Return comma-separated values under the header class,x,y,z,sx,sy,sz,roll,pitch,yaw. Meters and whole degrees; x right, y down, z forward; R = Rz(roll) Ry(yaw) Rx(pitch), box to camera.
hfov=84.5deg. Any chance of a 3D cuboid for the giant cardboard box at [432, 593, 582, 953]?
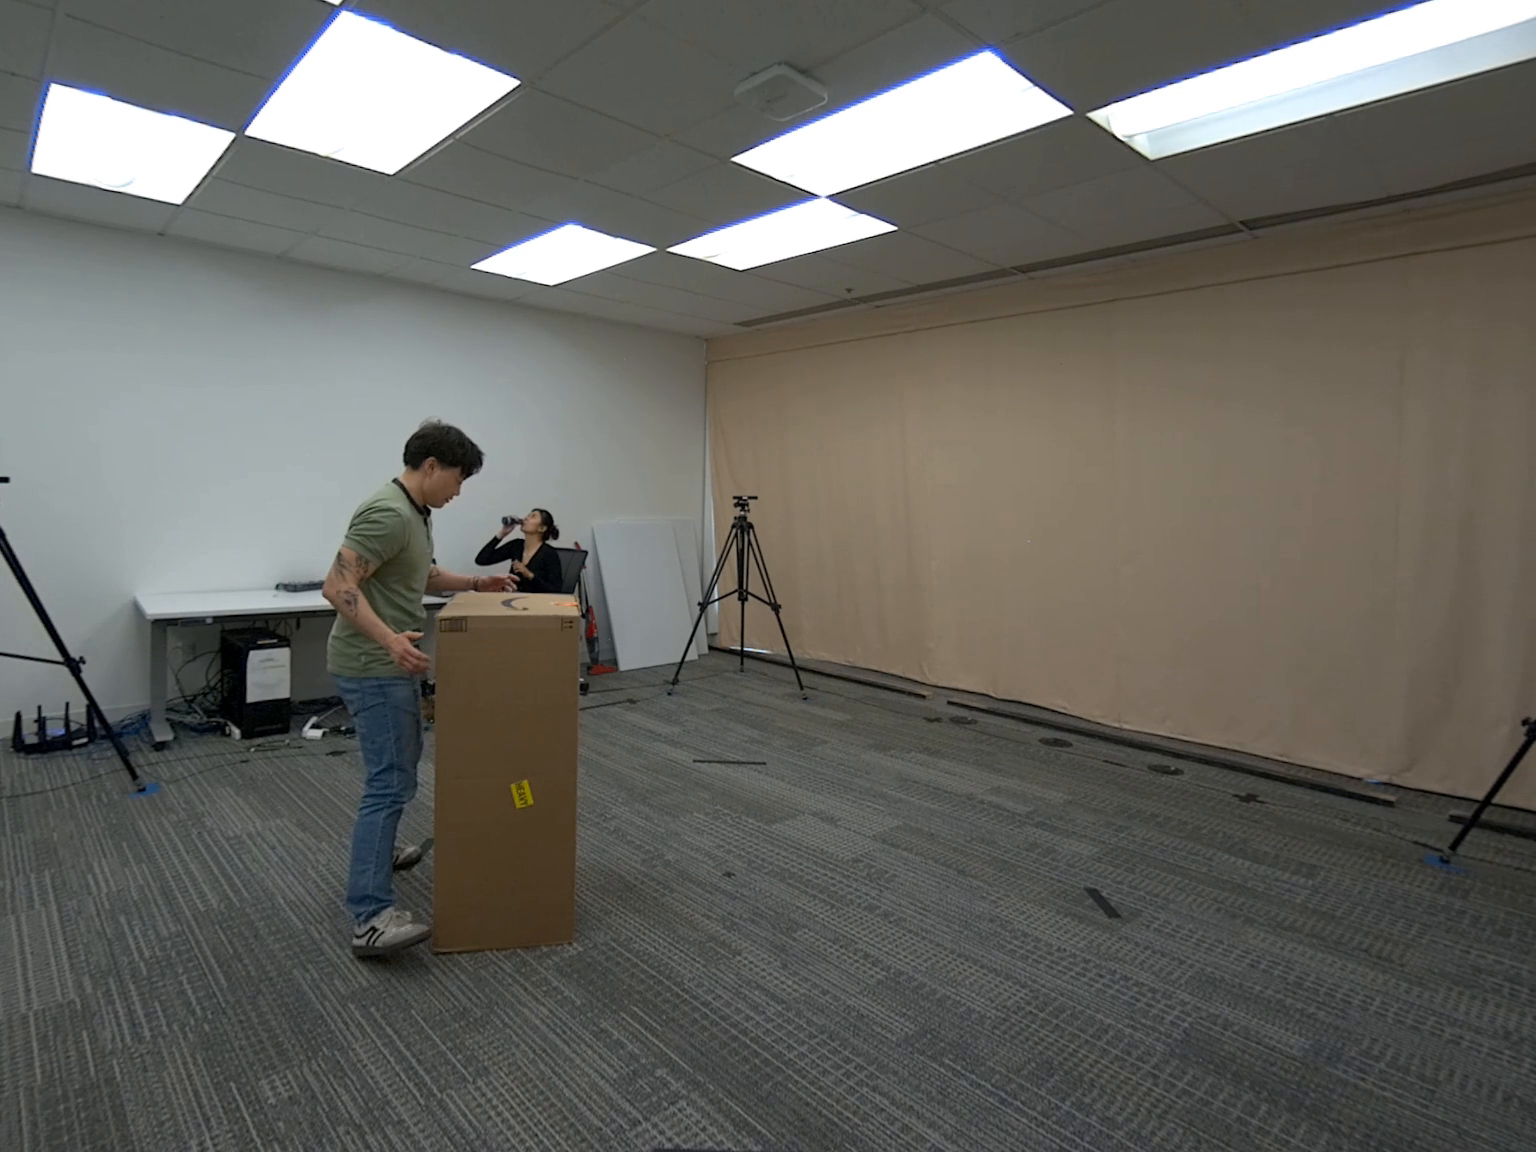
class,x,y,z,sx,sy,sz,roll,pitch,yaw
giant cardboard box,-0.863,0.603,2.814,0.422,1.023,0.585,1,4,-14
